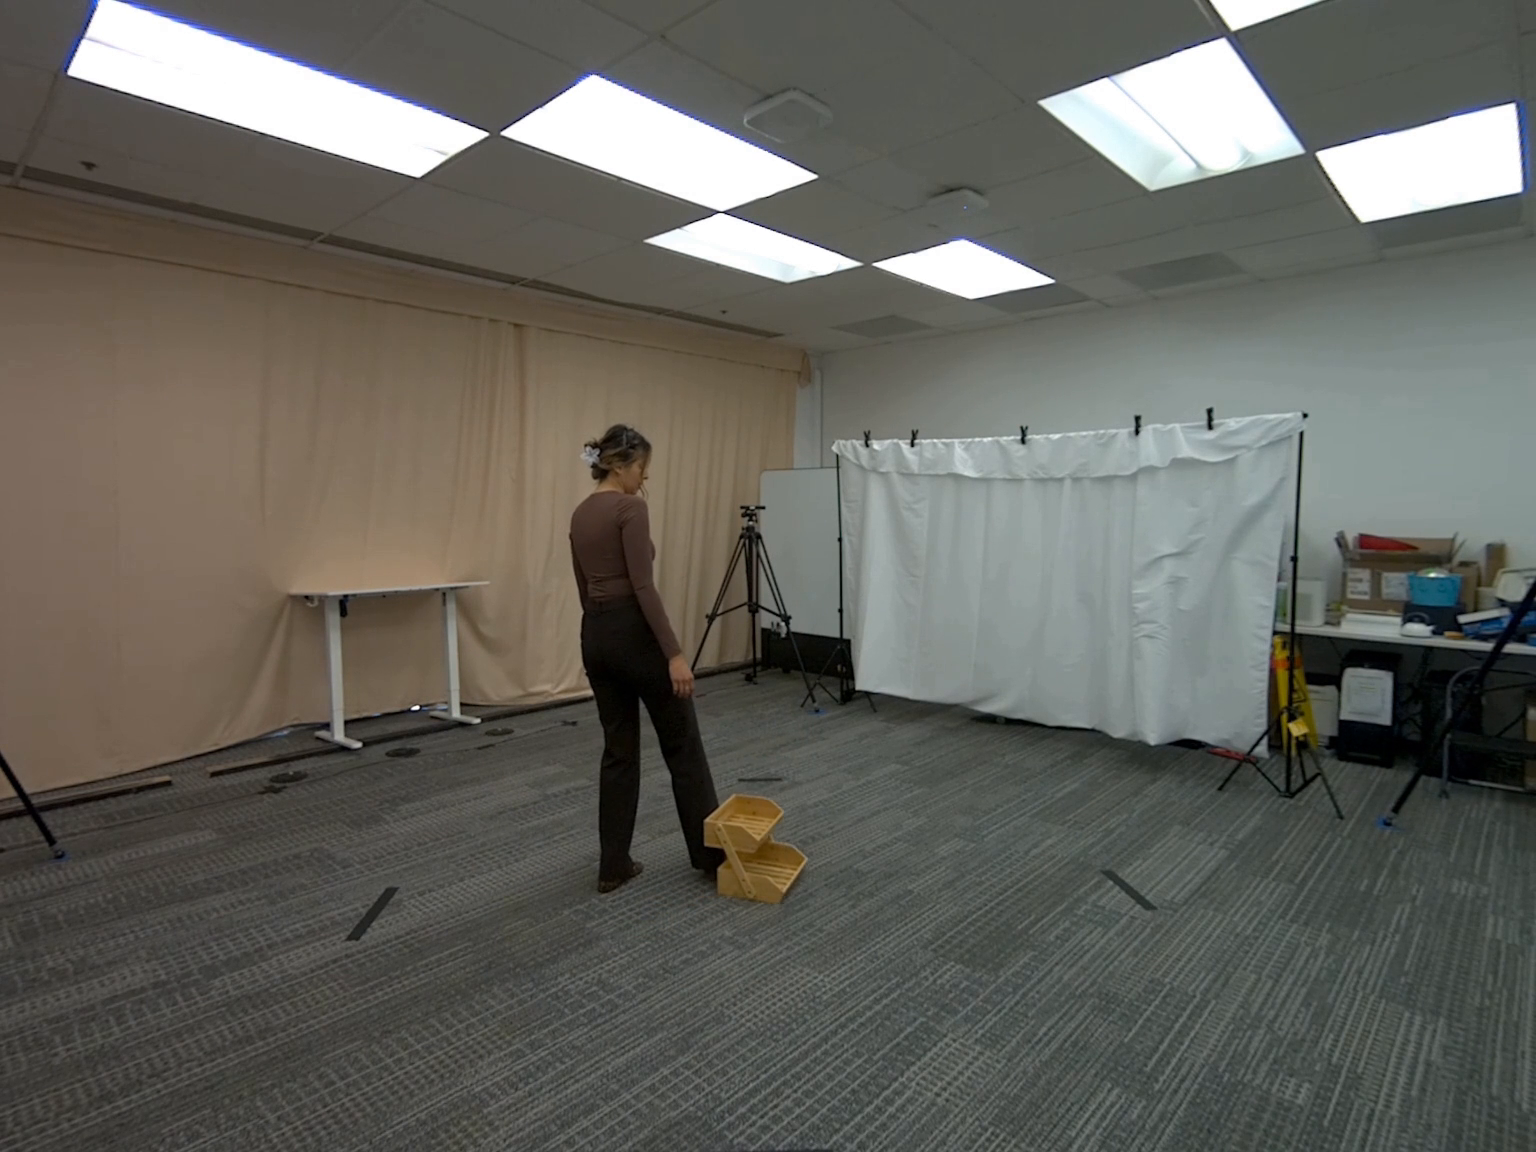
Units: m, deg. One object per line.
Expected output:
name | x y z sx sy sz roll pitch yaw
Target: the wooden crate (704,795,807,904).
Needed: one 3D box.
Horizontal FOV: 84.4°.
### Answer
wooden crate | -0.036 0.999 3.112 0.309 0.273 0.318 1 4 21
